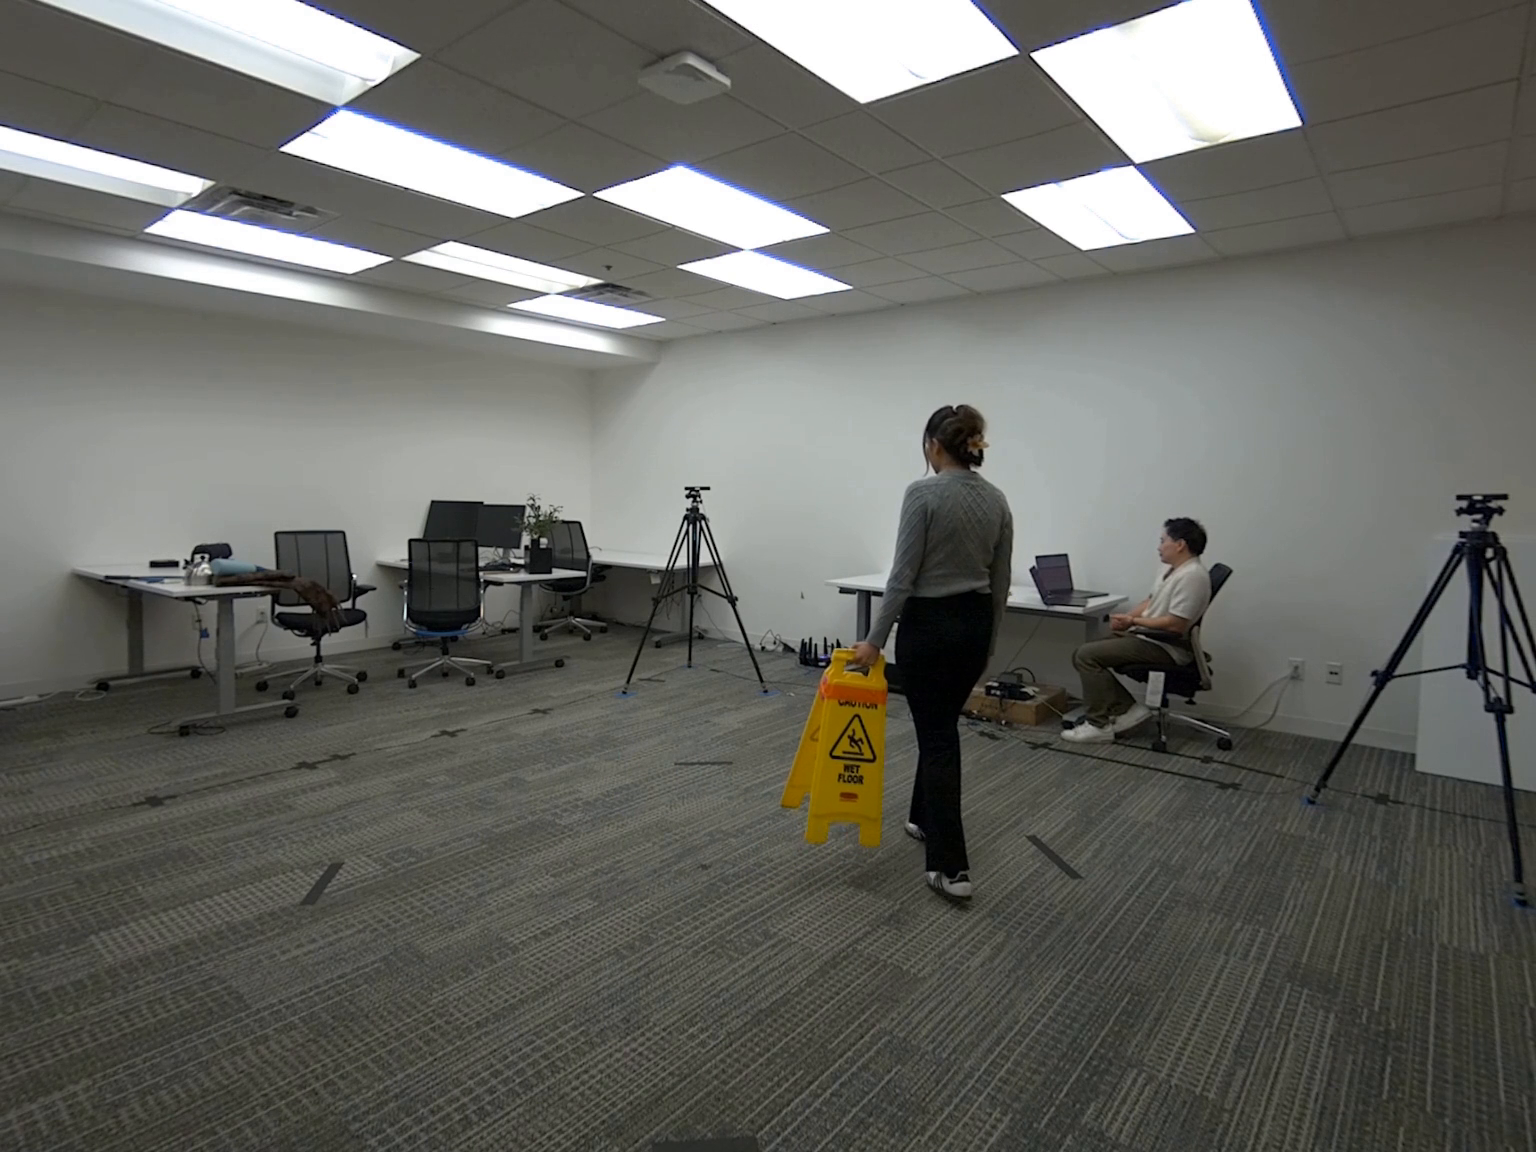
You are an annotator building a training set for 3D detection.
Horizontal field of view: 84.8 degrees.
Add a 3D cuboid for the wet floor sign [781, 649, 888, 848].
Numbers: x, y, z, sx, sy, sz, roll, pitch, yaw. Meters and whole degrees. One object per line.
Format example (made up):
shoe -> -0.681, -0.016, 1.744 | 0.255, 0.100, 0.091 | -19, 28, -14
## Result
wet floor sign -> 0.263, 0.584, 3.050 | 0.277, 0.644, 0.296 | 8, 4, -18
